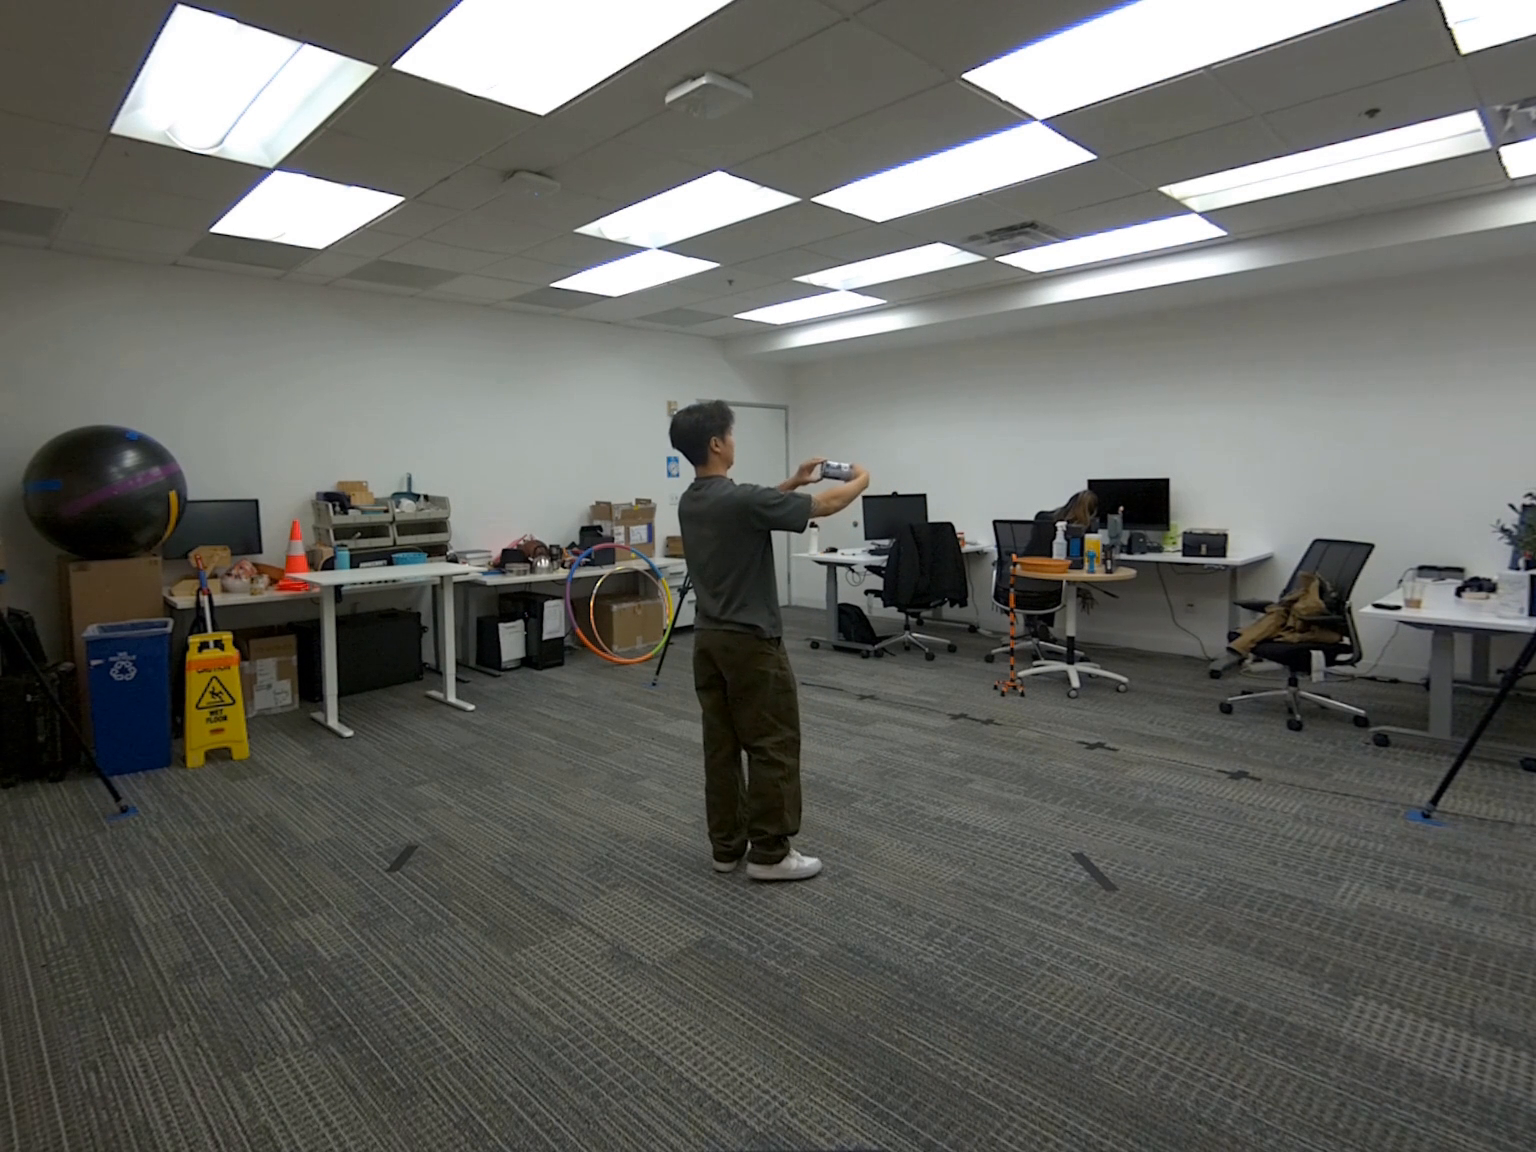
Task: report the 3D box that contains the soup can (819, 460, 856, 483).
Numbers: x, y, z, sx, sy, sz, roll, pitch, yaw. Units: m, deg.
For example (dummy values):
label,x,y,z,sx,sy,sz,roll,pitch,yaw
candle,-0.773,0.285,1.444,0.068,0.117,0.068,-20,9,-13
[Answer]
label,x,y,z,sx,sy,sz,roll,pitch,yaw
soup can,0.271,-0.399,3.249,0.122,0.067,0.067,8,5,2
